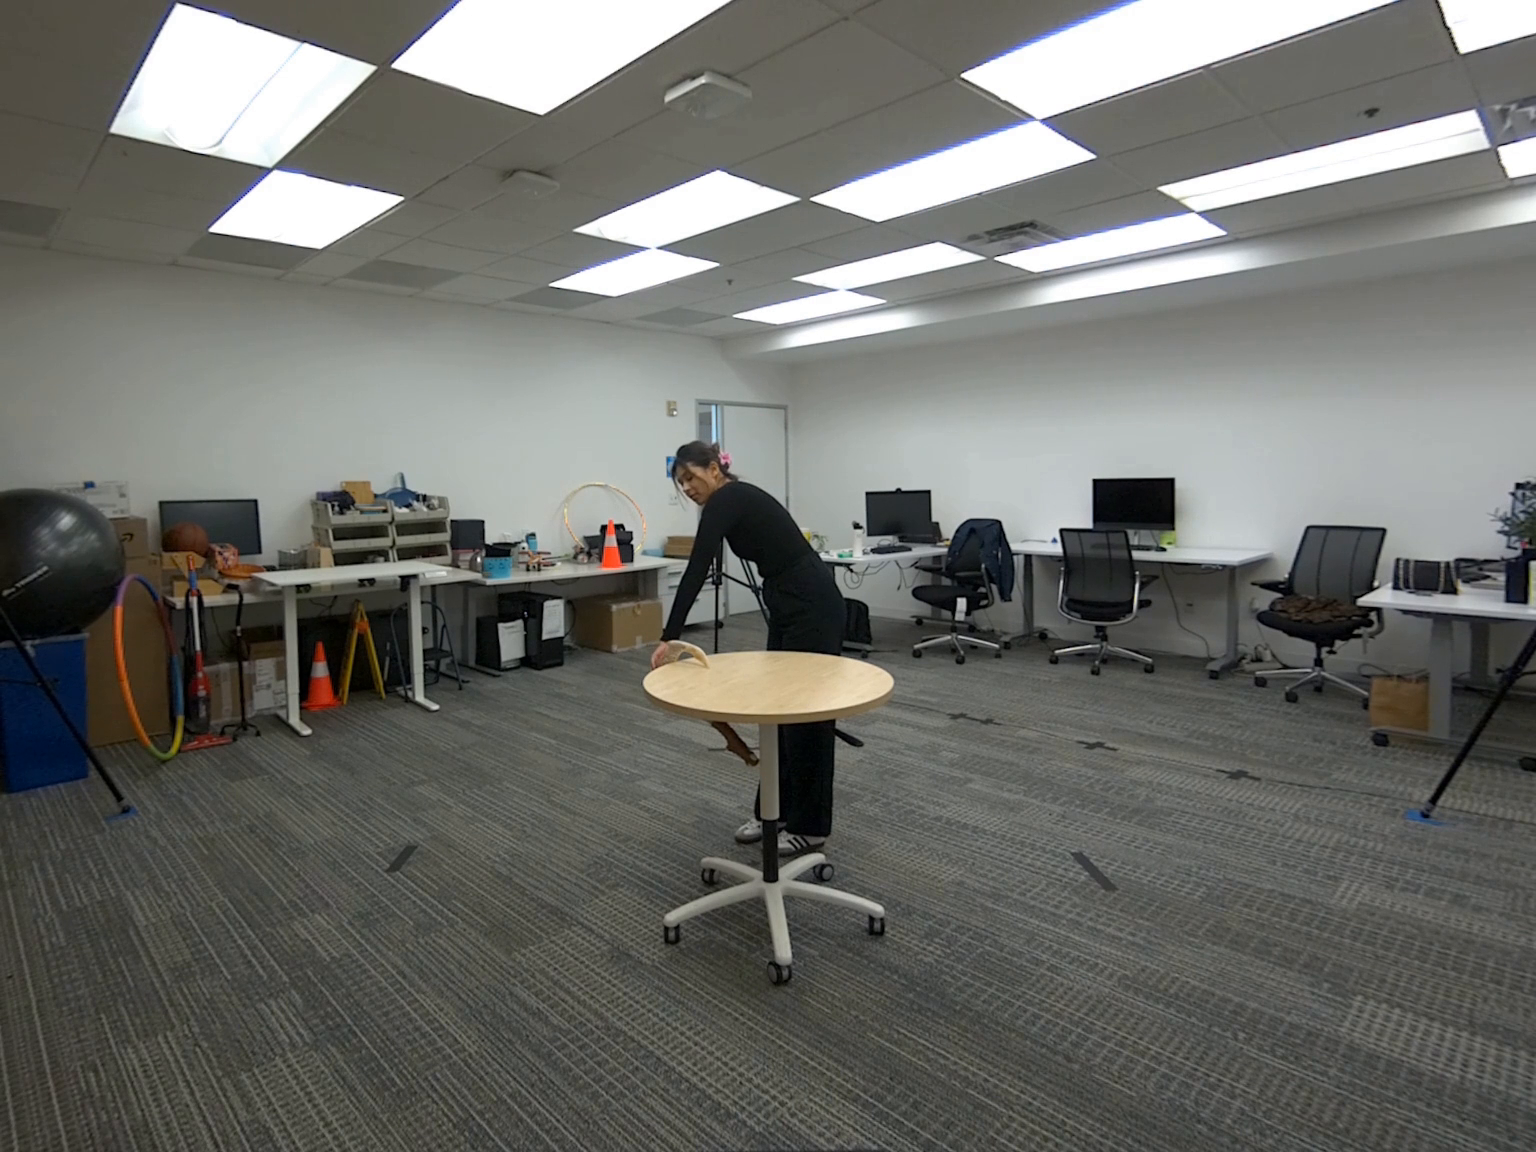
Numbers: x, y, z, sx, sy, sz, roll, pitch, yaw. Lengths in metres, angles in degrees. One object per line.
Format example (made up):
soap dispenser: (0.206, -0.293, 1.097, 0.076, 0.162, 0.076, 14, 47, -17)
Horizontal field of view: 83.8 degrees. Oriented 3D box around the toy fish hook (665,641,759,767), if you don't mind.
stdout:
toy fish hook: (-0.194, 0.406, 2.776, 0.524, 0.223, 0.047, 38, 25, 30)
